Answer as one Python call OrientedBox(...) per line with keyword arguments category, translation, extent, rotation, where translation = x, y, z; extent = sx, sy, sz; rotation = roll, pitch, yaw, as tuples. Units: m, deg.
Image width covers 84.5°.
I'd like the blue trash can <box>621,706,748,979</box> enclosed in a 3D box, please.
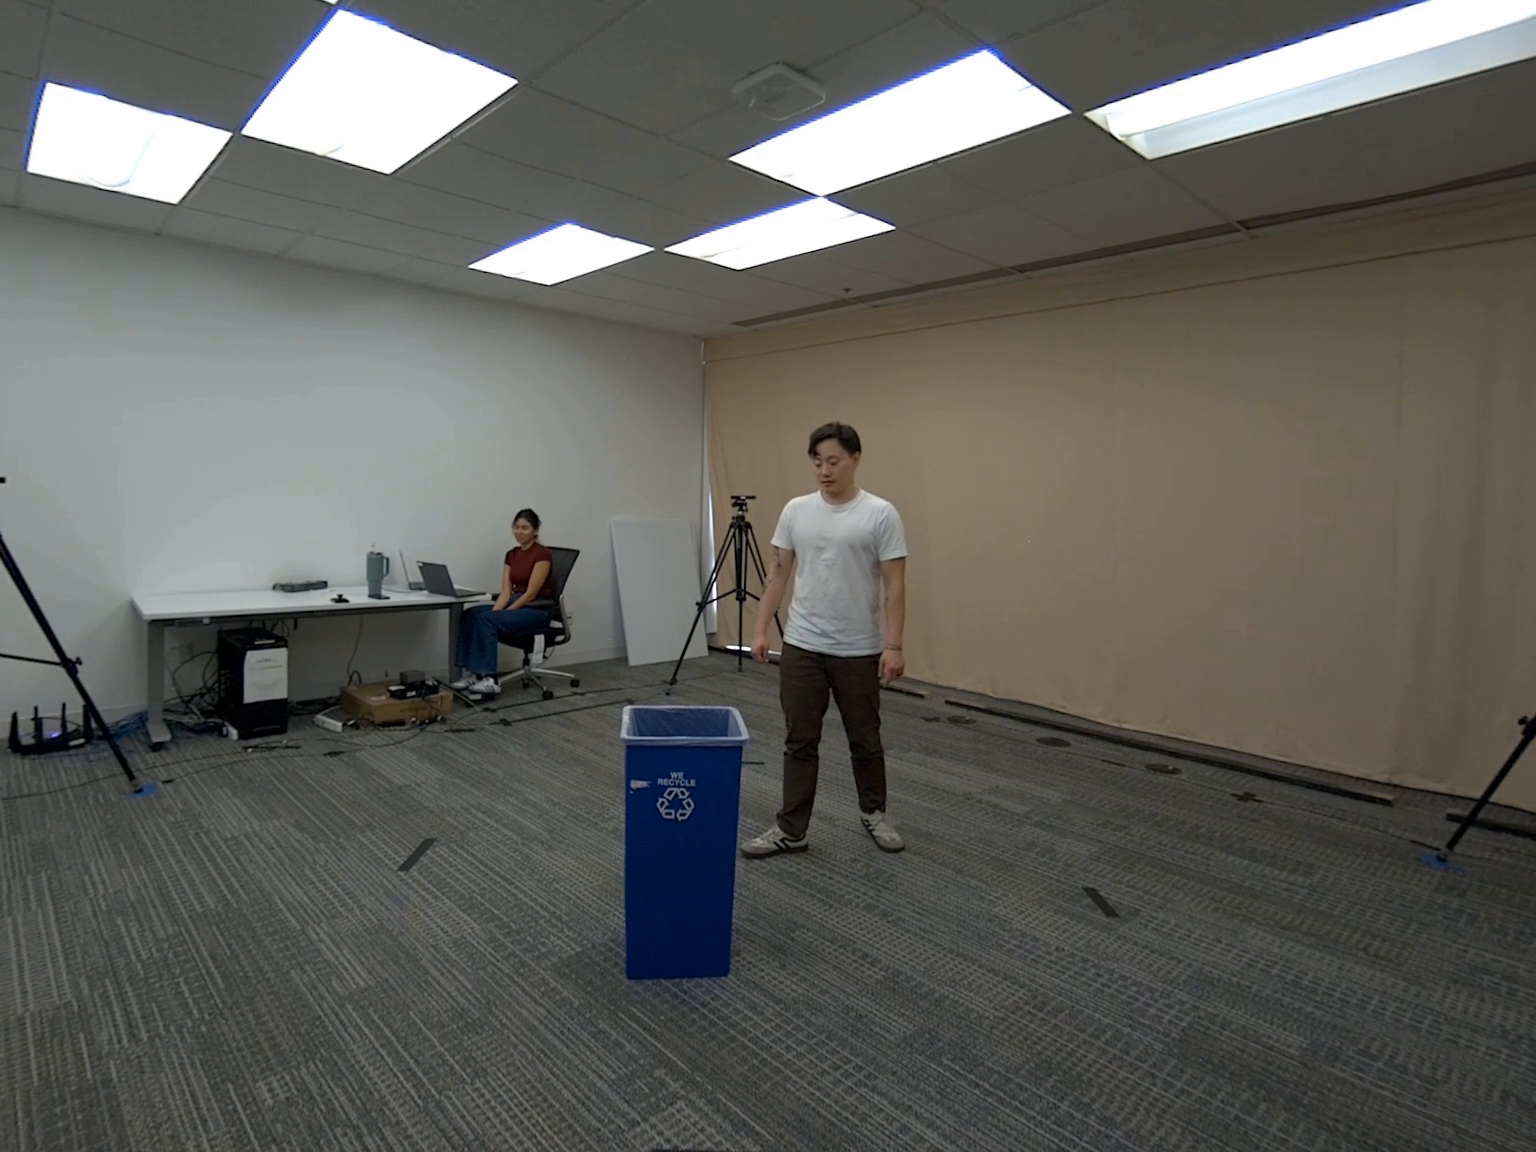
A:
OrientedBox(category="blue trash can", translation=(-0.274, 0.796, 2.544), extent=(0.376, 0.712, 0.377), rotation=(1, 3, -7))
